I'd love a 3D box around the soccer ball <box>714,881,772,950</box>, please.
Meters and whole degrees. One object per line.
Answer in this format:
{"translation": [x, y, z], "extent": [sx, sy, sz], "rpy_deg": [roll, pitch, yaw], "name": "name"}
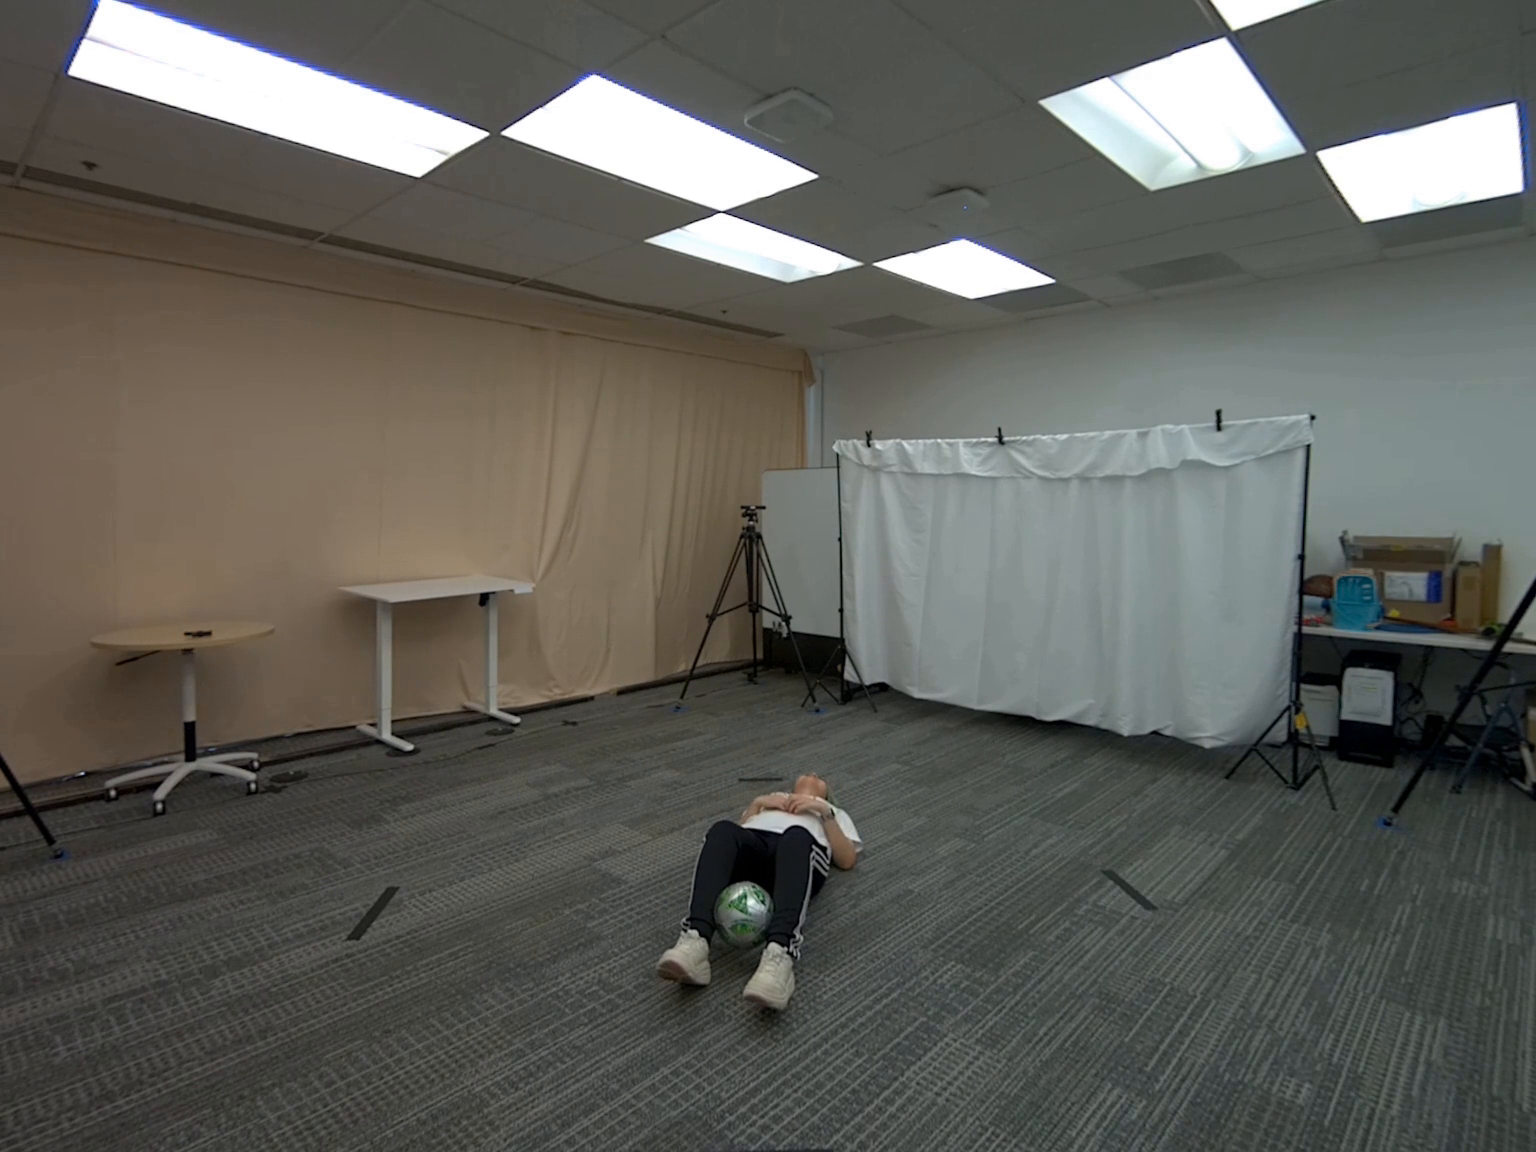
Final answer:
{"translation": [-0.064, 1.021, 2.543], "extent": [0.187, 0.187, 0.188], "rpy_deg": [0, 4, -2], "name": "soccer ball"}
